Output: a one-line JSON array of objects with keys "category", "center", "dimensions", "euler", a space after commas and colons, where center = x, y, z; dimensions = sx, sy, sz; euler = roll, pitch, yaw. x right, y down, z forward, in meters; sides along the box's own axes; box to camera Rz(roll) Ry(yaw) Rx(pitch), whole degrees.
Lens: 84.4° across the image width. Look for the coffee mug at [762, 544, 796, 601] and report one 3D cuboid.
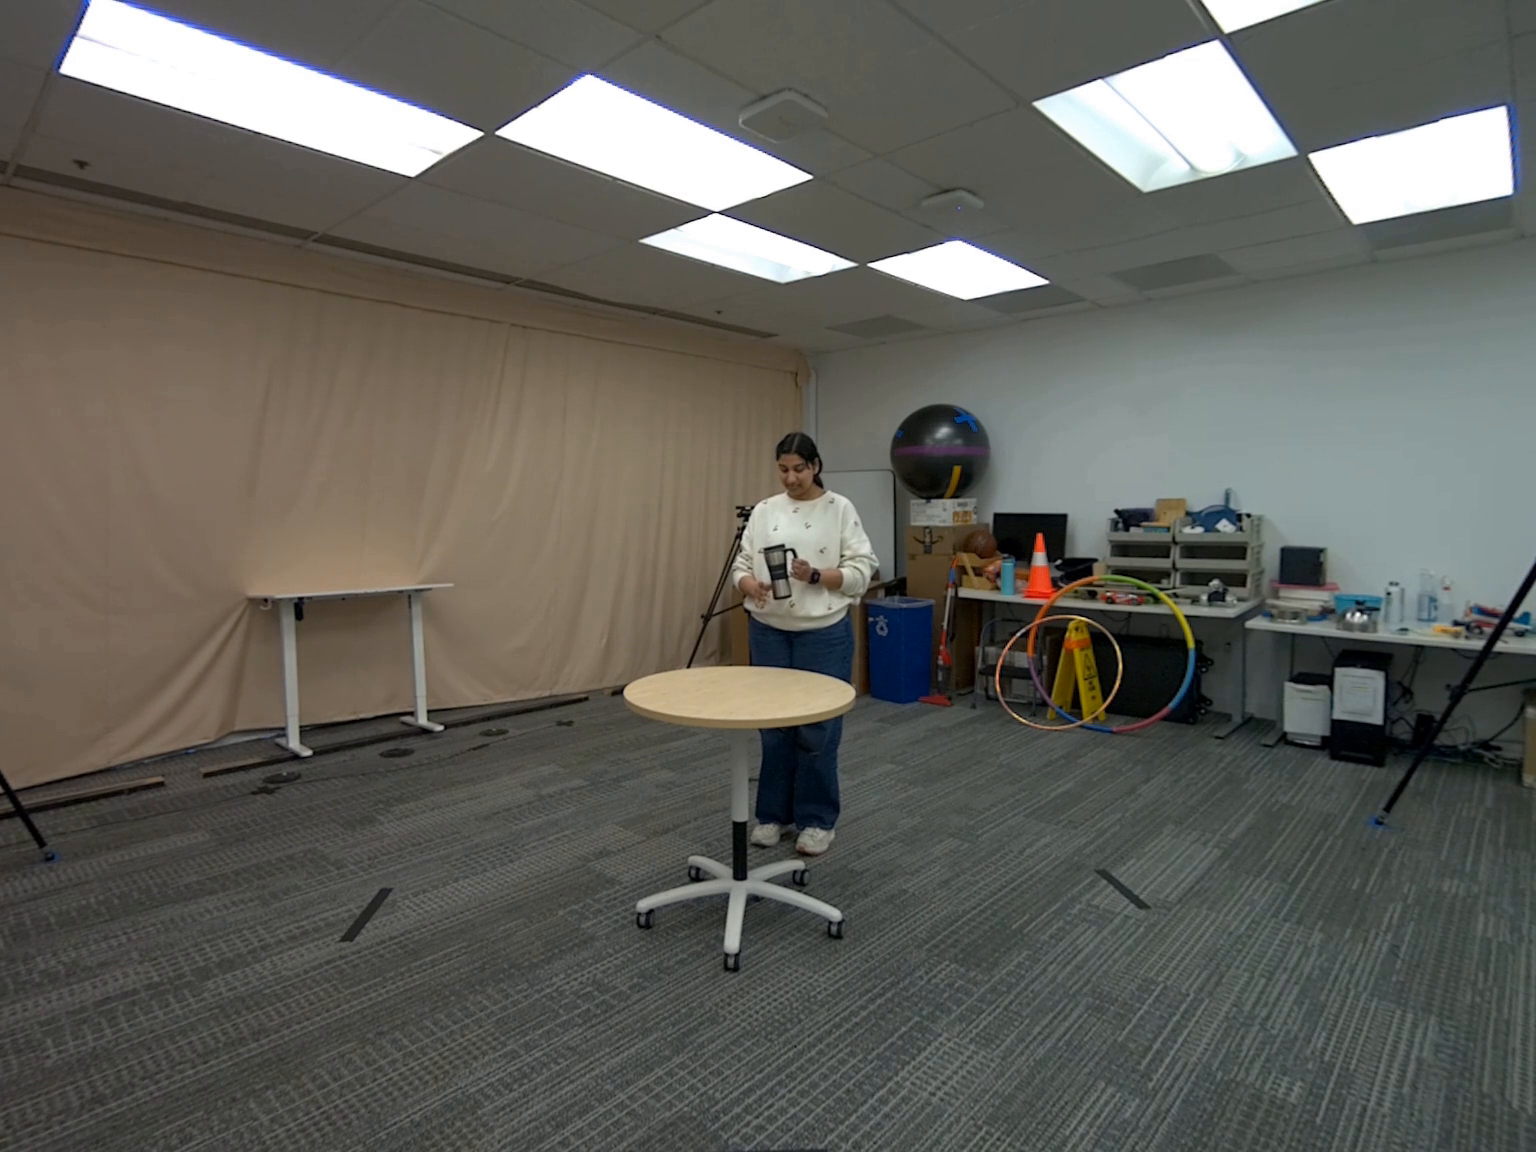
[{"category": "coffee mug", "center": [0.052, -0.015, 3.170], "dimensions": [0.085, 0.203, 0.125], "euler": [-8, -3, -38]}]
